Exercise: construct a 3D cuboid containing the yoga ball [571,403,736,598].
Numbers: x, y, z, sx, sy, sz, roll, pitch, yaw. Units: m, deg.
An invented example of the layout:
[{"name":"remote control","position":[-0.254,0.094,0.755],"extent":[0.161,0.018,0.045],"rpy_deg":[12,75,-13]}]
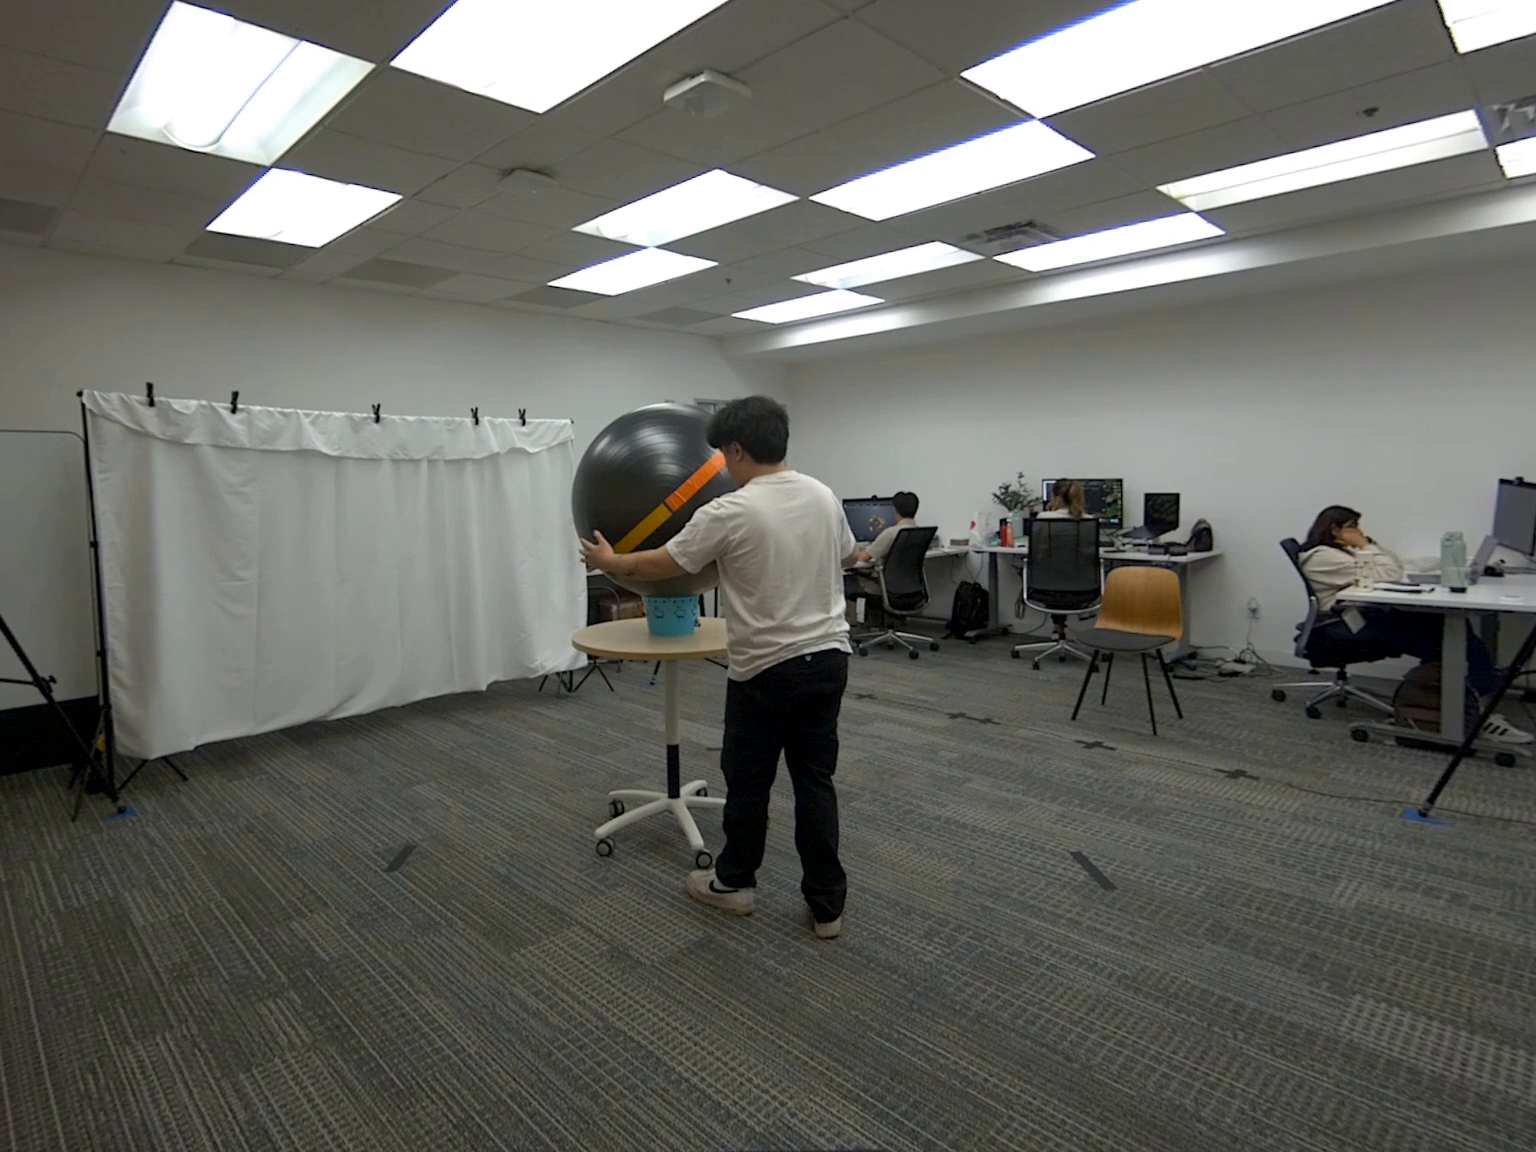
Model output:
[{"name":"yoga ball","position":[-0.380,-0.285,3.323],"extent":[0.757,0.755,0.762],"rpy_deg":[-1,5,-2]}]
